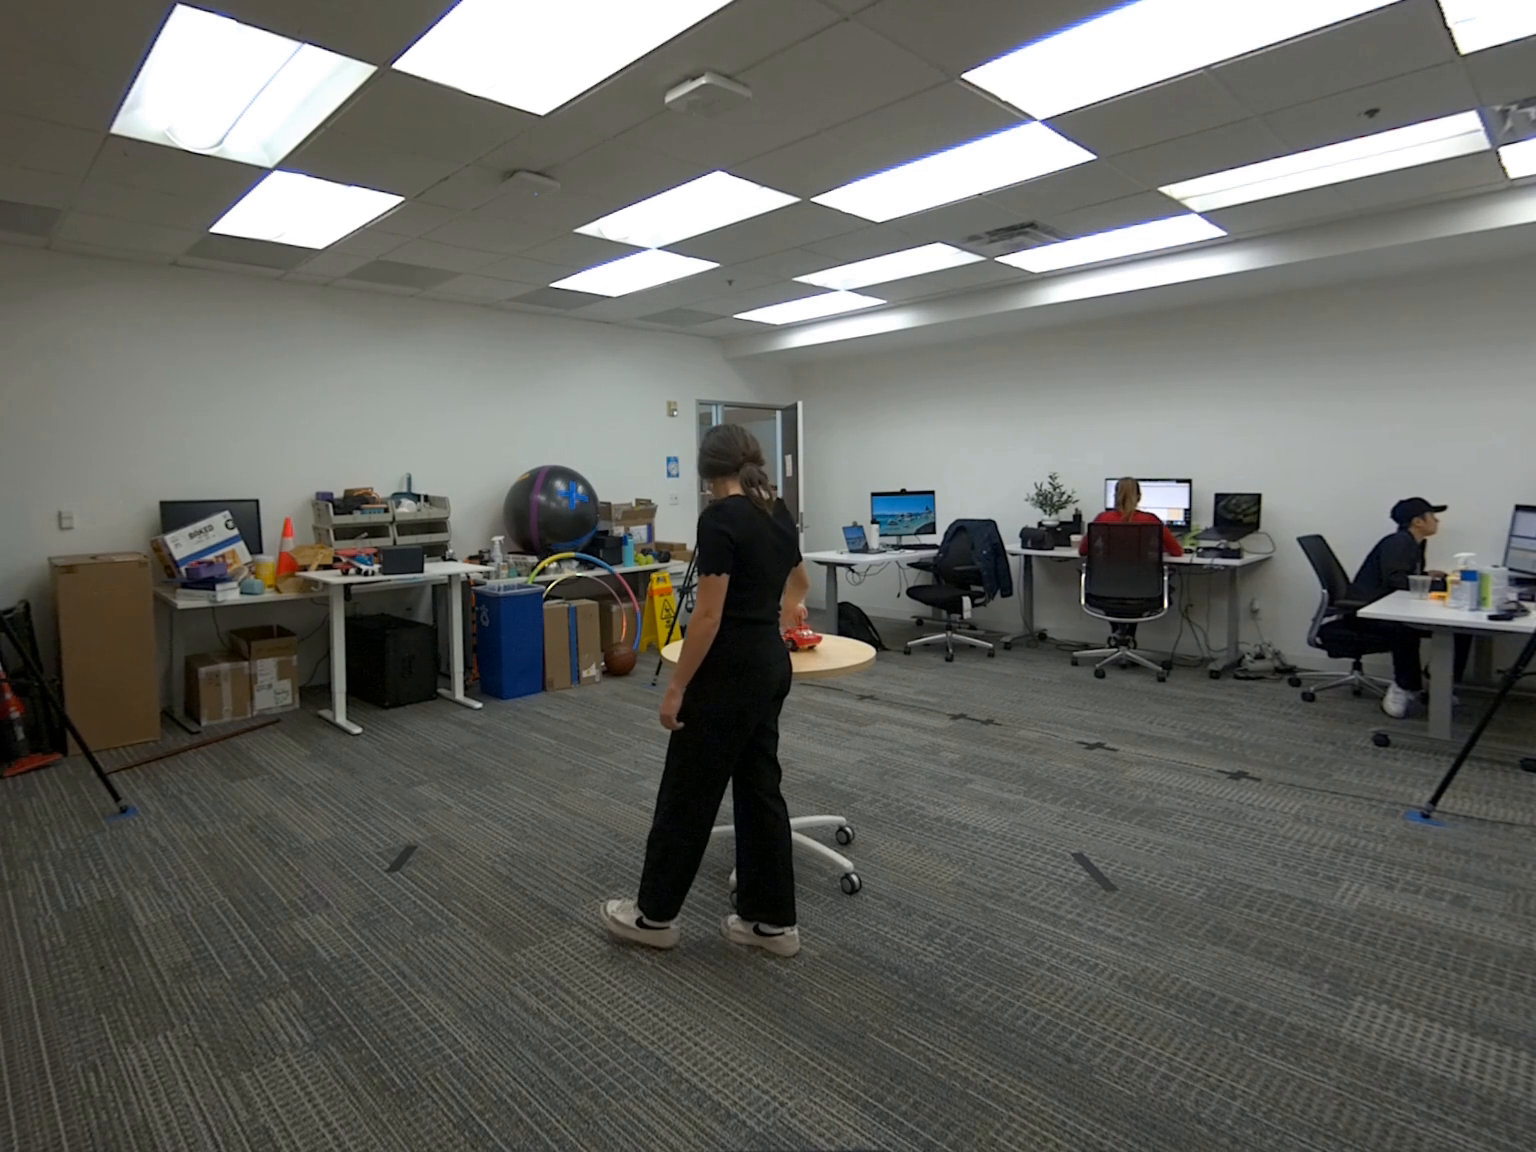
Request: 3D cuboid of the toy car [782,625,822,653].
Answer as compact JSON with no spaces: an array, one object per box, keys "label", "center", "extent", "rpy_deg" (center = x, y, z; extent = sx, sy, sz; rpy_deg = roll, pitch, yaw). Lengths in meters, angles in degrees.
[{"label":"toy car","center":[0.086,0.231,3.093],"extent":[0.127,0.083,0.260],"rpy_deg":[-4,-4,-38]}]
